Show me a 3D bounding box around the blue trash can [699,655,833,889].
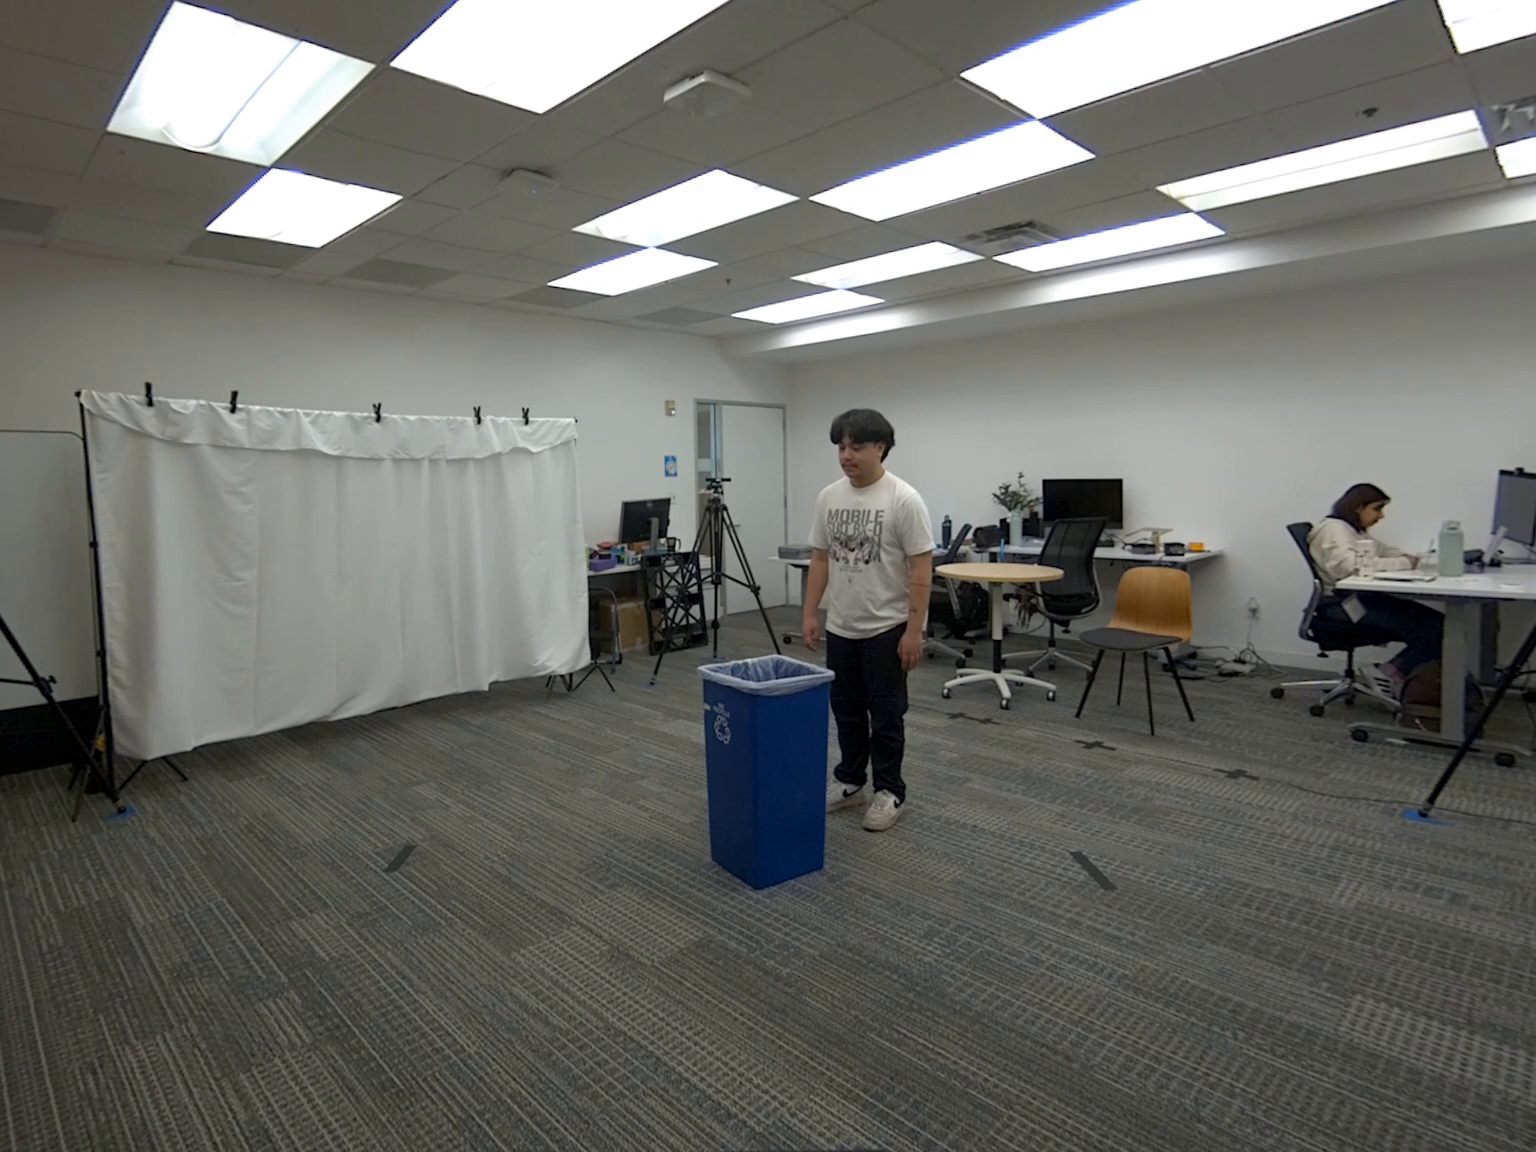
[{"bbox_3d":[0.001,0.686,3.069,0.368,0.711,0.385,-4,5,-35],"label":"blue trash can"}]
